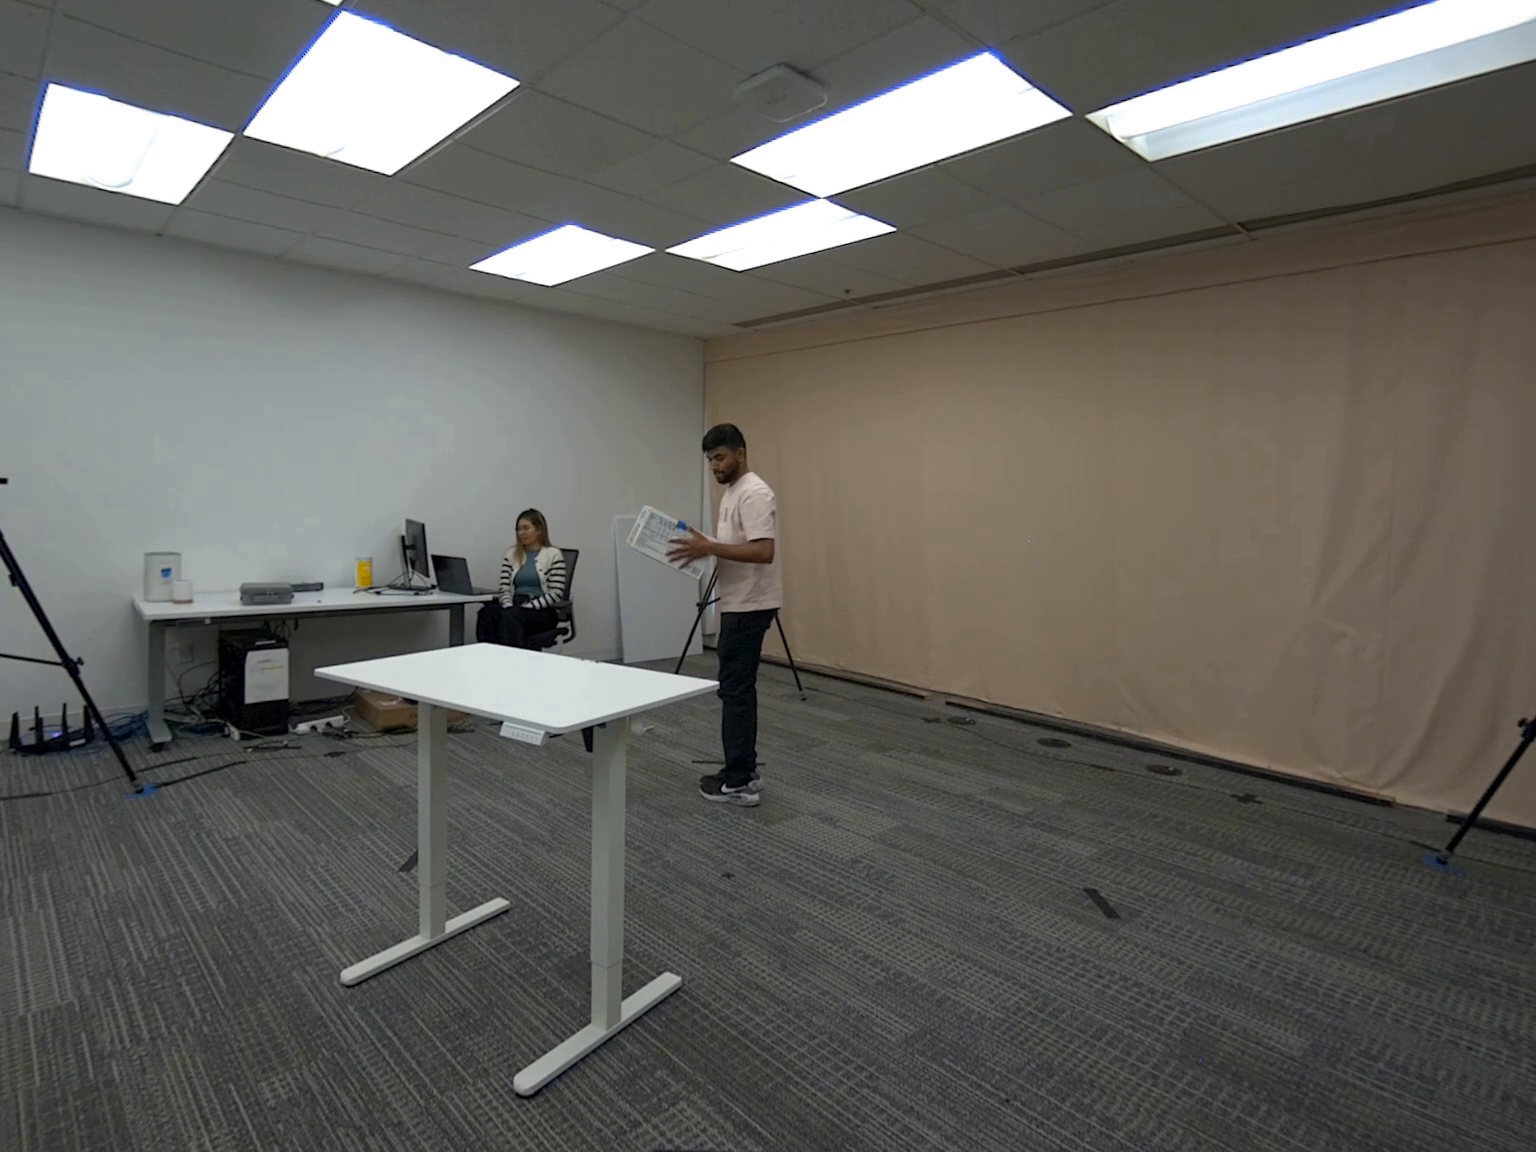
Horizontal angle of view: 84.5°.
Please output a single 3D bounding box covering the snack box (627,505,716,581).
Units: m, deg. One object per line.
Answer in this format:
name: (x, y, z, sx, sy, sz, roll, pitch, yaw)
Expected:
snack box: (-0.459, -0.162, 3.931, 0.336, 0.206, 0.410, 26, 0, -13)
